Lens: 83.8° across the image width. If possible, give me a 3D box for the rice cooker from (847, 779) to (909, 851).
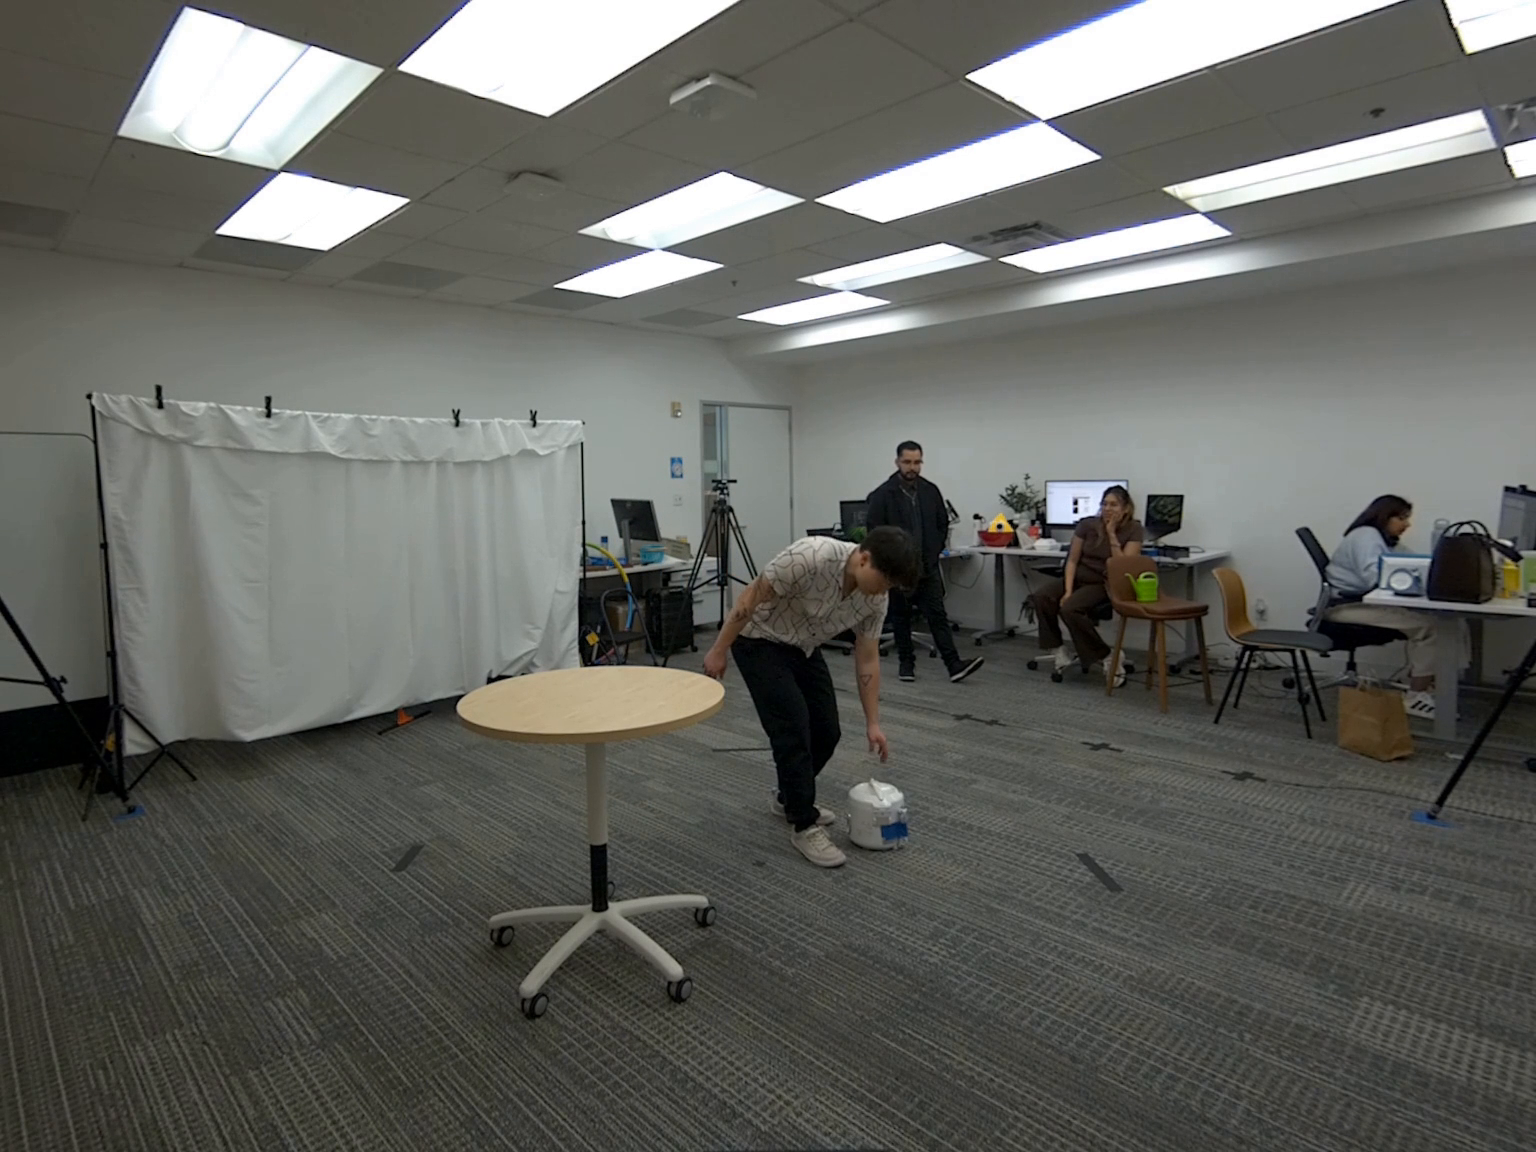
[{"bbox_3d":[0.410,0.901,3.270,0.217,0.232,0.222,-1,5,-4],"label":"rice cooker"}]
